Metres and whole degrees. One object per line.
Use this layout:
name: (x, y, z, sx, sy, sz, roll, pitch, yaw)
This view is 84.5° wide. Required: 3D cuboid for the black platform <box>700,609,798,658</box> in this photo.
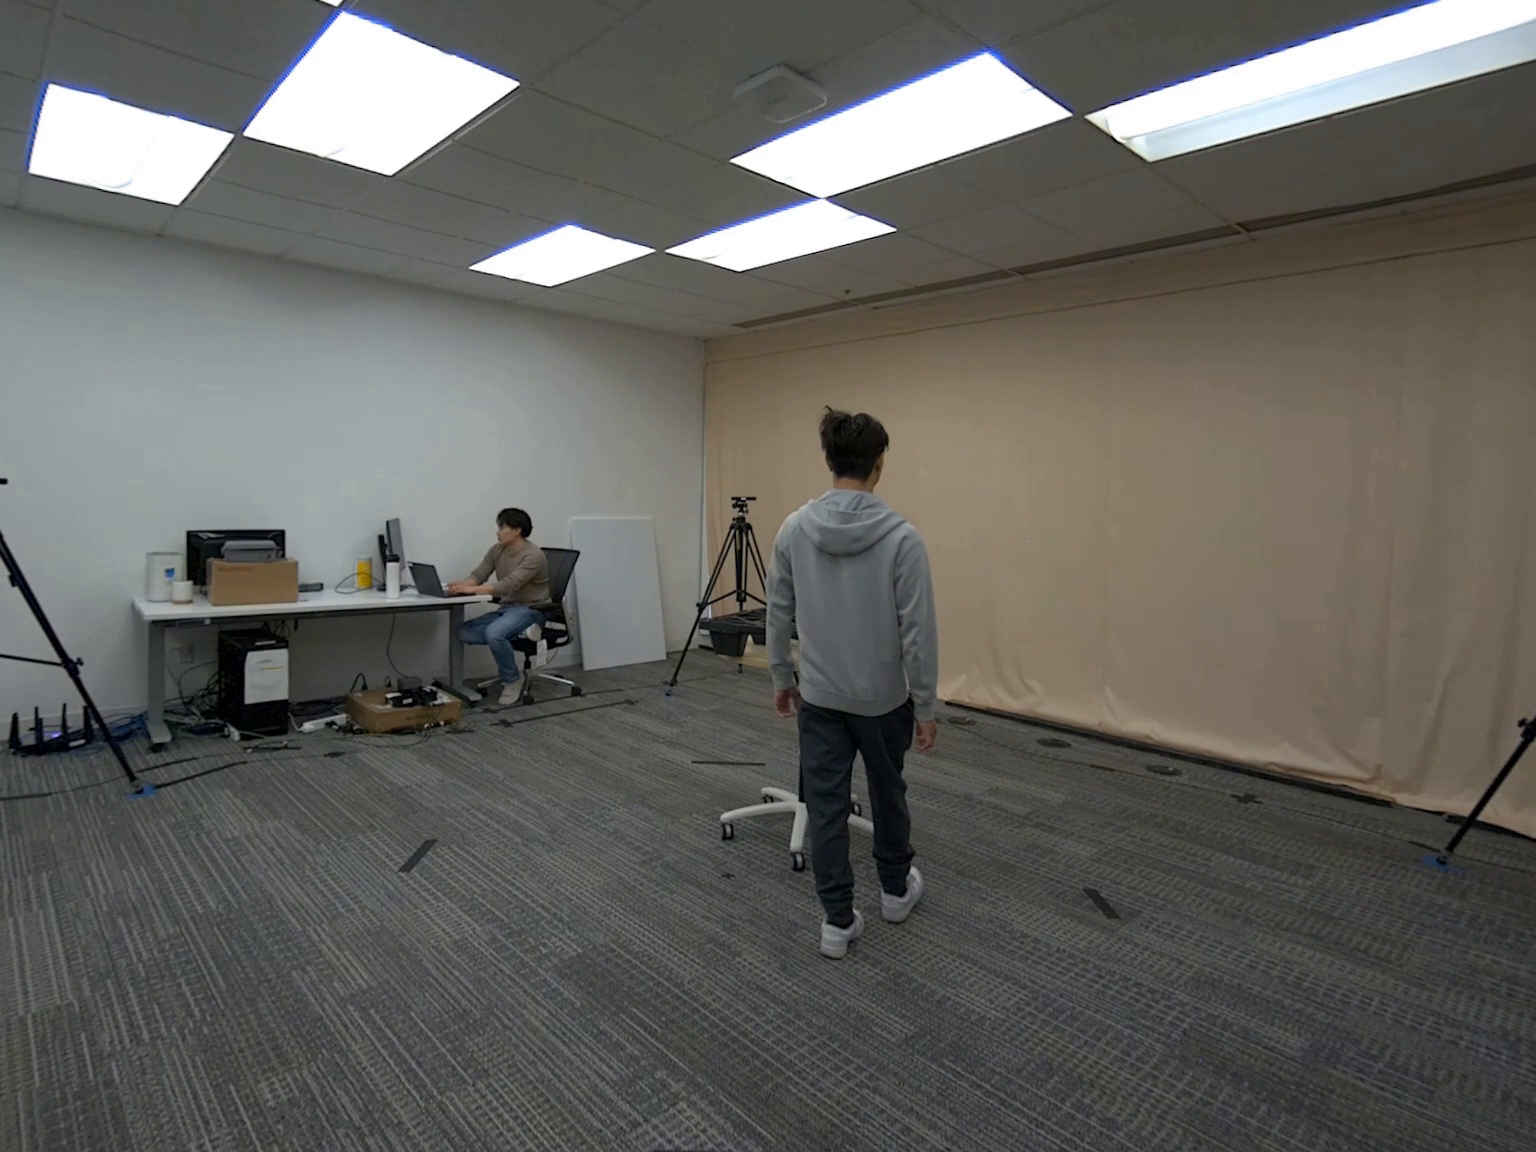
black platform: (0.179, 0.238, 3.469, 0.618, 0.143, 0.791, 5, 6, 26)
